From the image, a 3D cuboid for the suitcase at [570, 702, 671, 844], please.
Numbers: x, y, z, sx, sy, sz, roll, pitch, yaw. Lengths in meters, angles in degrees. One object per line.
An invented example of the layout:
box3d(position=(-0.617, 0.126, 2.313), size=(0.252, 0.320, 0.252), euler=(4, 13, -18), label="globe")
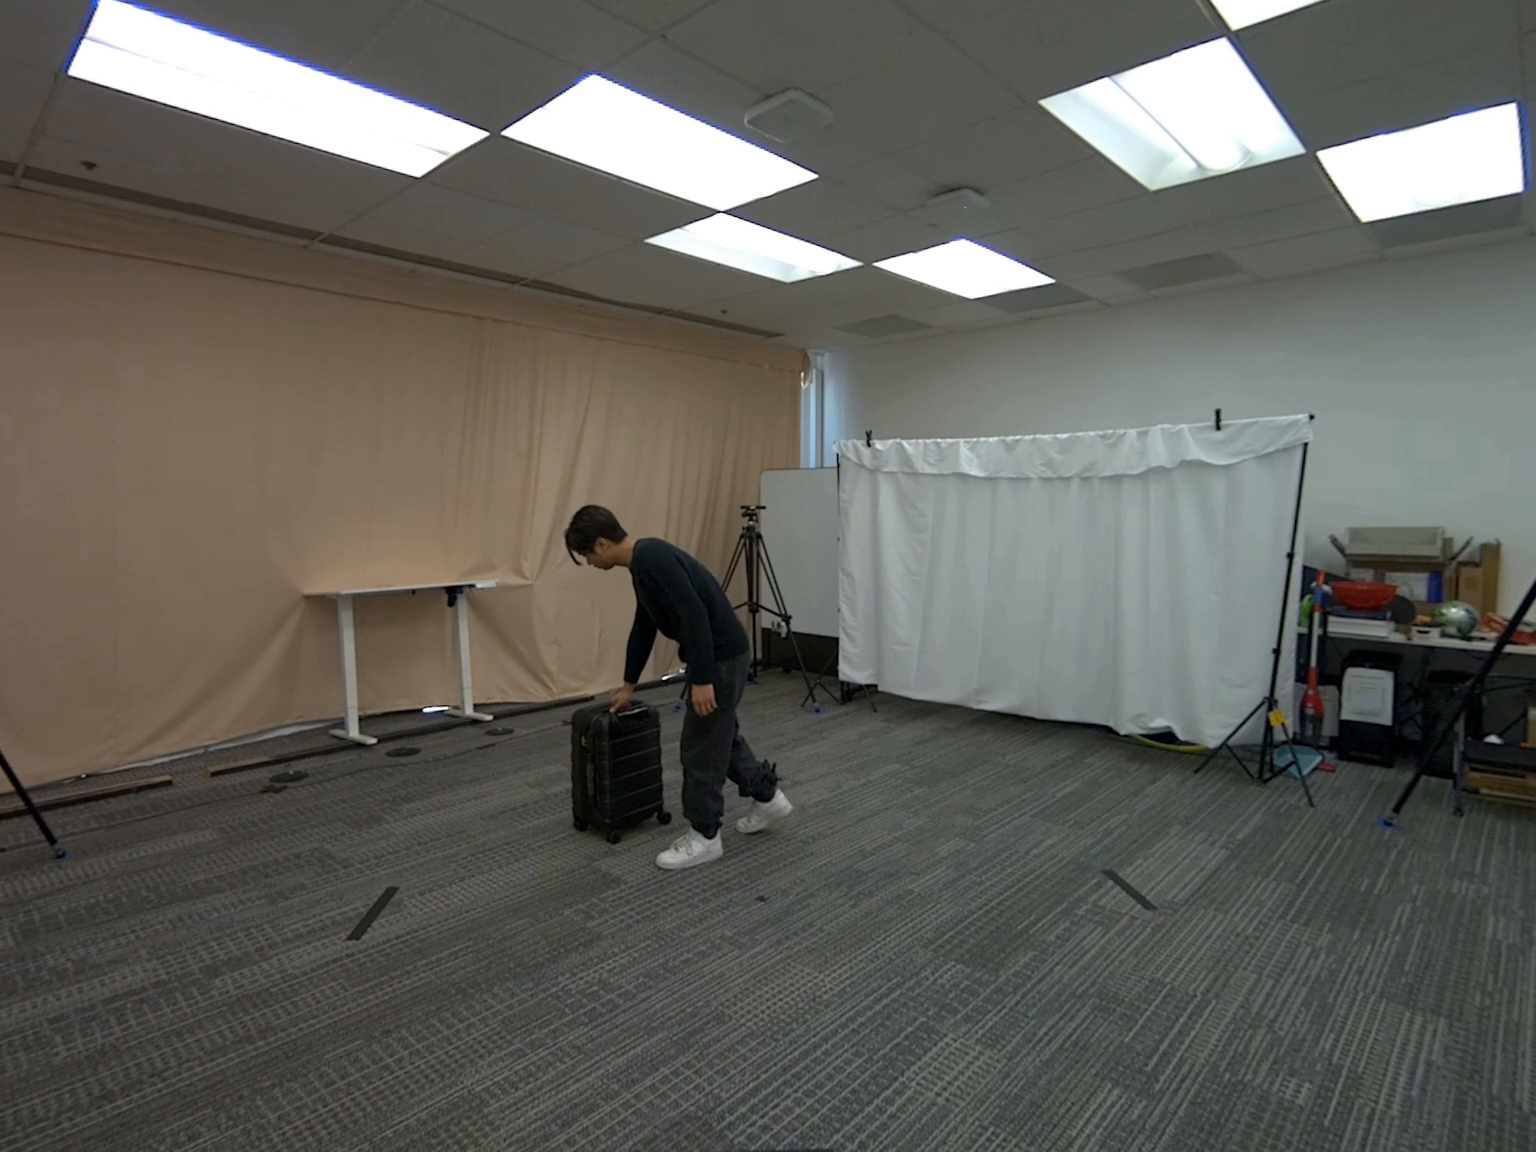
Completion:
box3d(position=(-0.659, 0.821, 3.653), size=(0.256, 0.548, 0.364), euler=(1, 5, 42), label="suitcase")
